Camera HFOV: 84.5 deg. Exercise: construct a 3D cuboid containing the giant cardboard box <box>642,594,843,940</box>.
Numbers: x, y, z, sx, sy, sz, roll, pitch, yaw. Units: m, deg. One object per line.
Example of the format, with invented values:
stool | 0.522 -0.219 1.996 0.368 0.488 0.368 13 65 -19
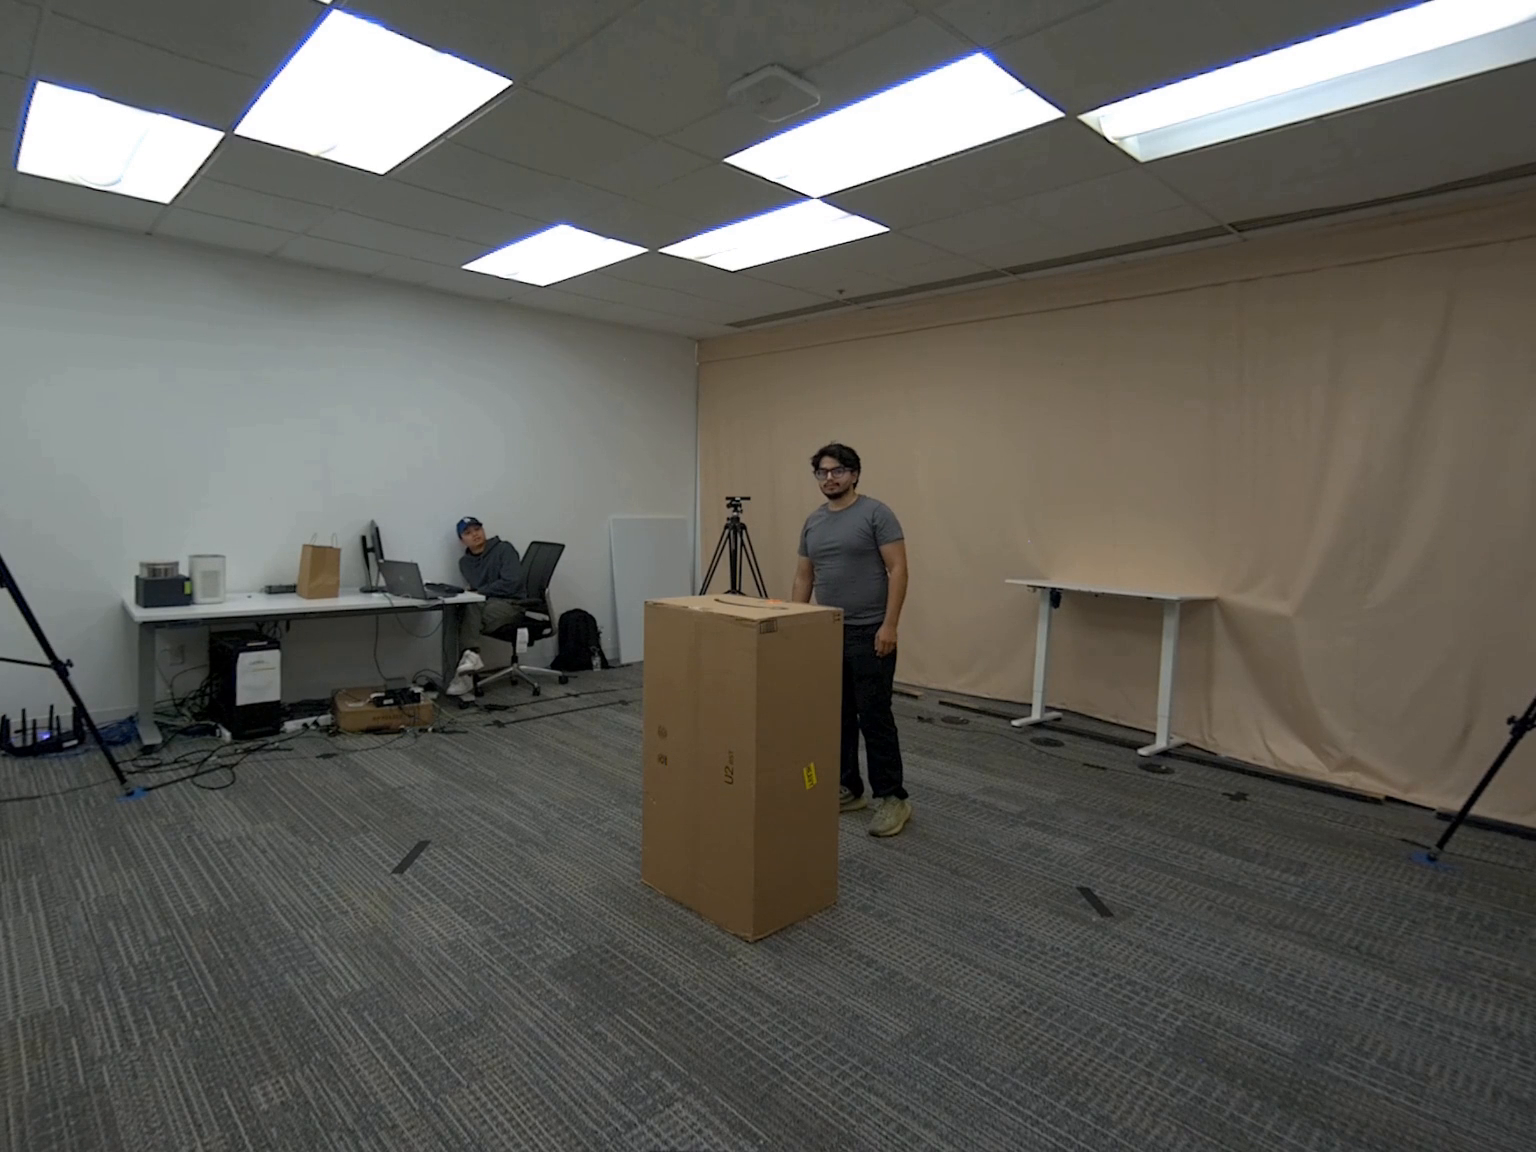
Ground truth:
giant cardboard box | -0.104 0.612 2.958 0.416 1.023 0.592 -2 4 -44
